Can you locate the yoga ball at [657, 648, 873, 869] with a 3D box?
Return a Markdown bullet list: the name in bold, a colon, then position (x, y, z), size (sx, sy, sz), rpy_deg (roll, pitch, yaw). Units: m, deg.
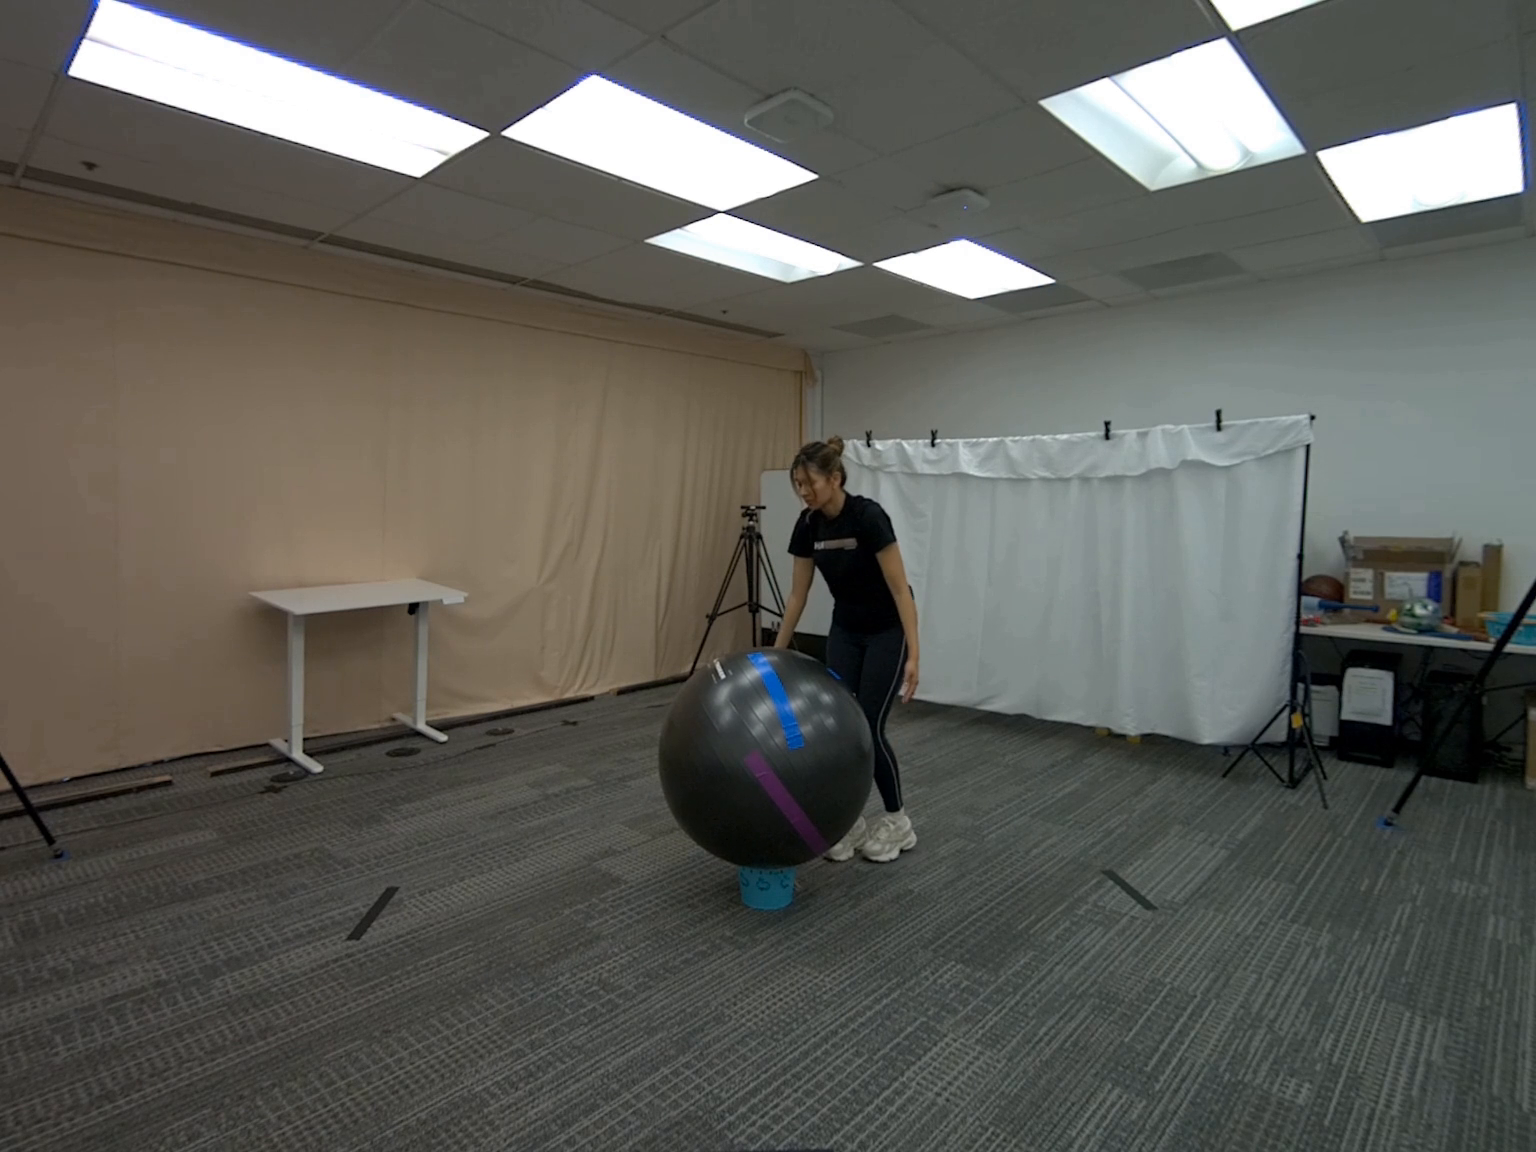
- **yoga ball**: position (-0.010, 0.636, 2.966), size (0.757, 0.756, 0.760), rpy_deg (0, 4, -2)
